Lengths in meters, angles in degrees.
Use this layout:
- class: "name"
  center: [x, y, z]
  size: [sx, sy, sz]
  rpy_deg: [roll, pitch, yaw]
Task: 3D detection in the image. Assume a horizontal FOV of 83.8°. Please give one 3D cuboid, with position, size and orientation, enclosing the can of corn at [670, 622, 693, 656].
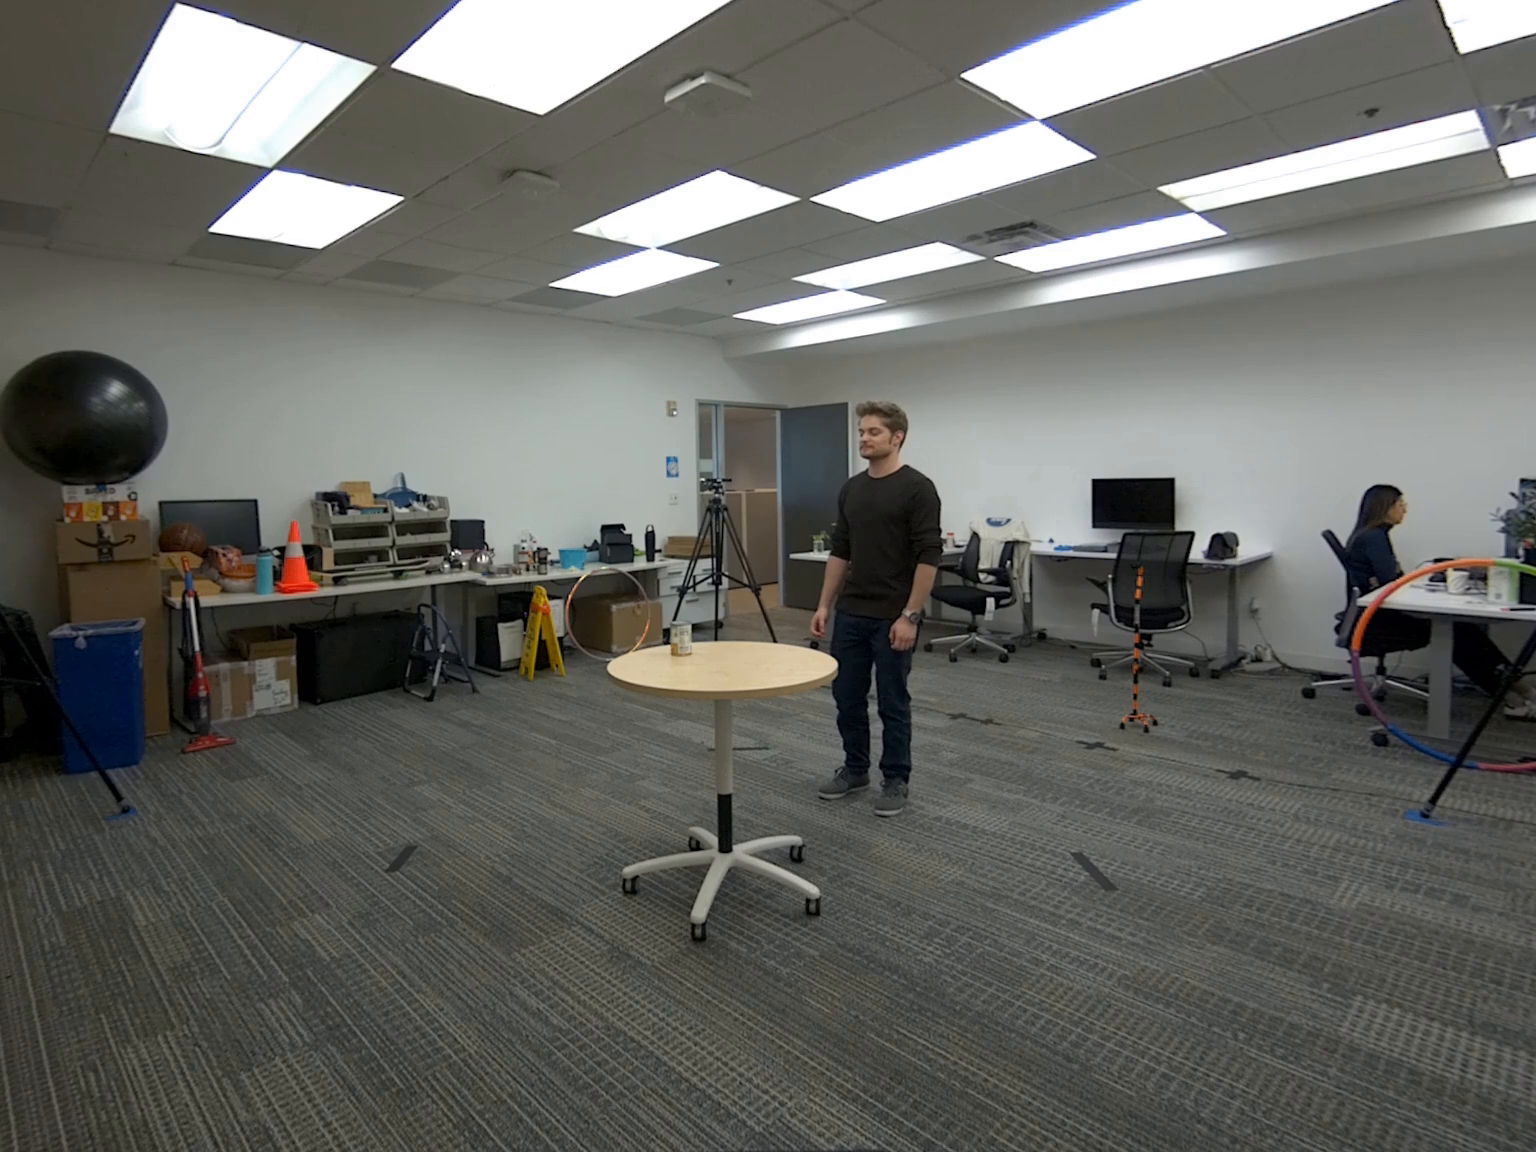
- class: "can of corn"
  center: [-0.305, 0.219, 3.004]
  size: [0.074, 0.110, 0.074]
  rpy_deg: [1, 4, -2]
